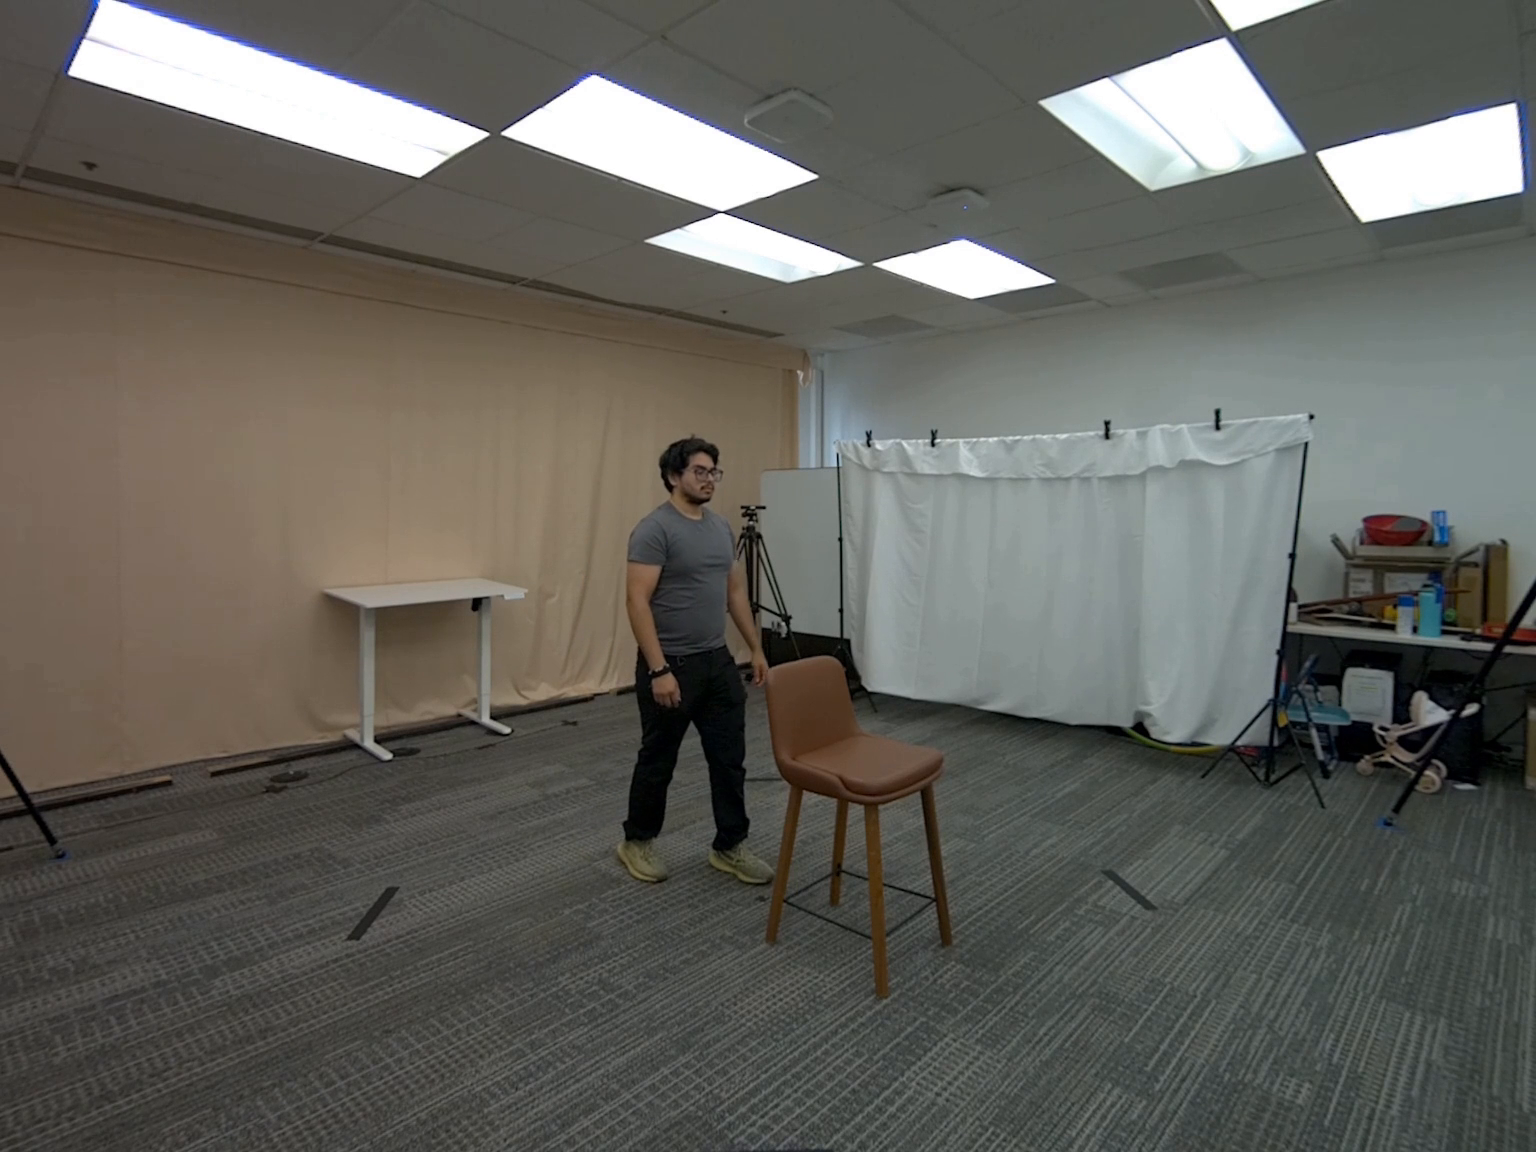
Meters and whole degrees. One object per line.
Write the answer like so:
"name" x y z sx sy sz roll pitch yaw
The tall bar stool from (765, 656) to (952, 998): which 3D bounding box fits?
"tall bar stool" 0.281 0.734 2.657 0.483 0.888 0.442 0 3 42
